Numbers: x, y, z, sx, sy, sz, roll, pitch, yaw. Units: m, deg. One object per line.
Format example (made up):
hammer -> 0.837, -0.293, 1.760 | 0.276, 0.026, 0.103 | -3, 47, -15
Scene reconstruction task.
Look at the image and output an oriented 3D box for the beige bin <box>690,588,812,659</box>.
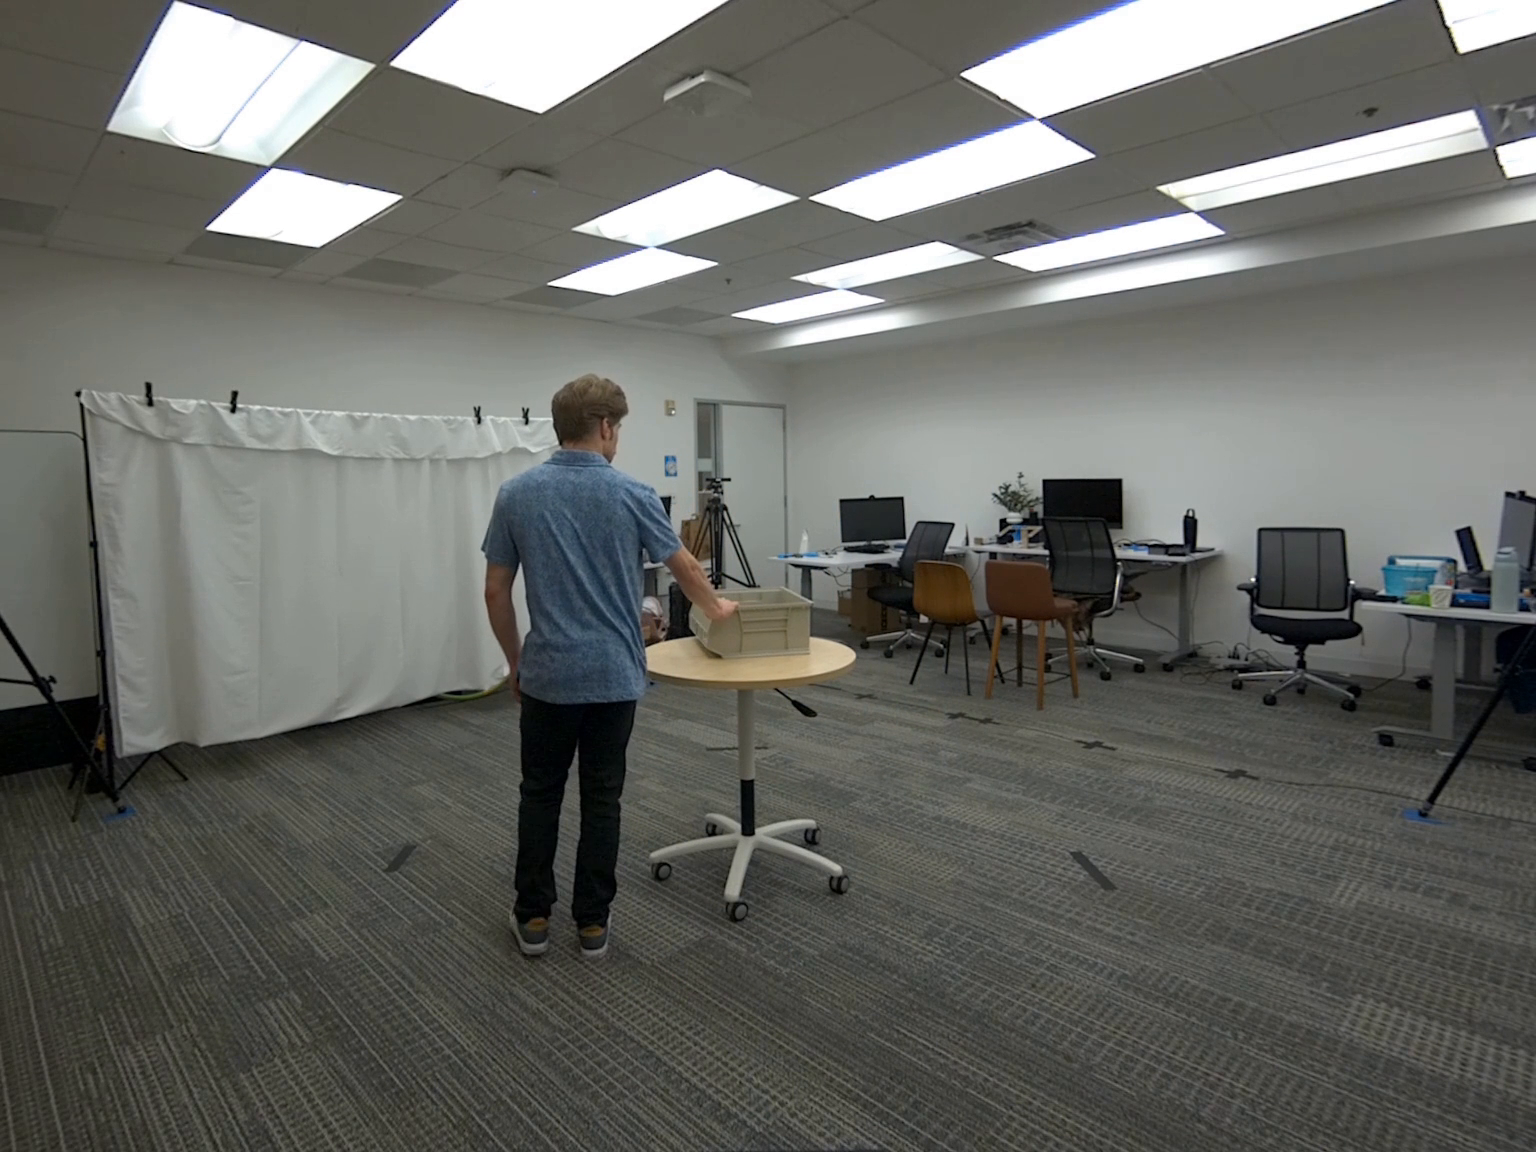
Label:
beige bin -> -0.065, 0.164, 3.125 | 0.373, 0.188, 0.429 | -1, 6, -12
